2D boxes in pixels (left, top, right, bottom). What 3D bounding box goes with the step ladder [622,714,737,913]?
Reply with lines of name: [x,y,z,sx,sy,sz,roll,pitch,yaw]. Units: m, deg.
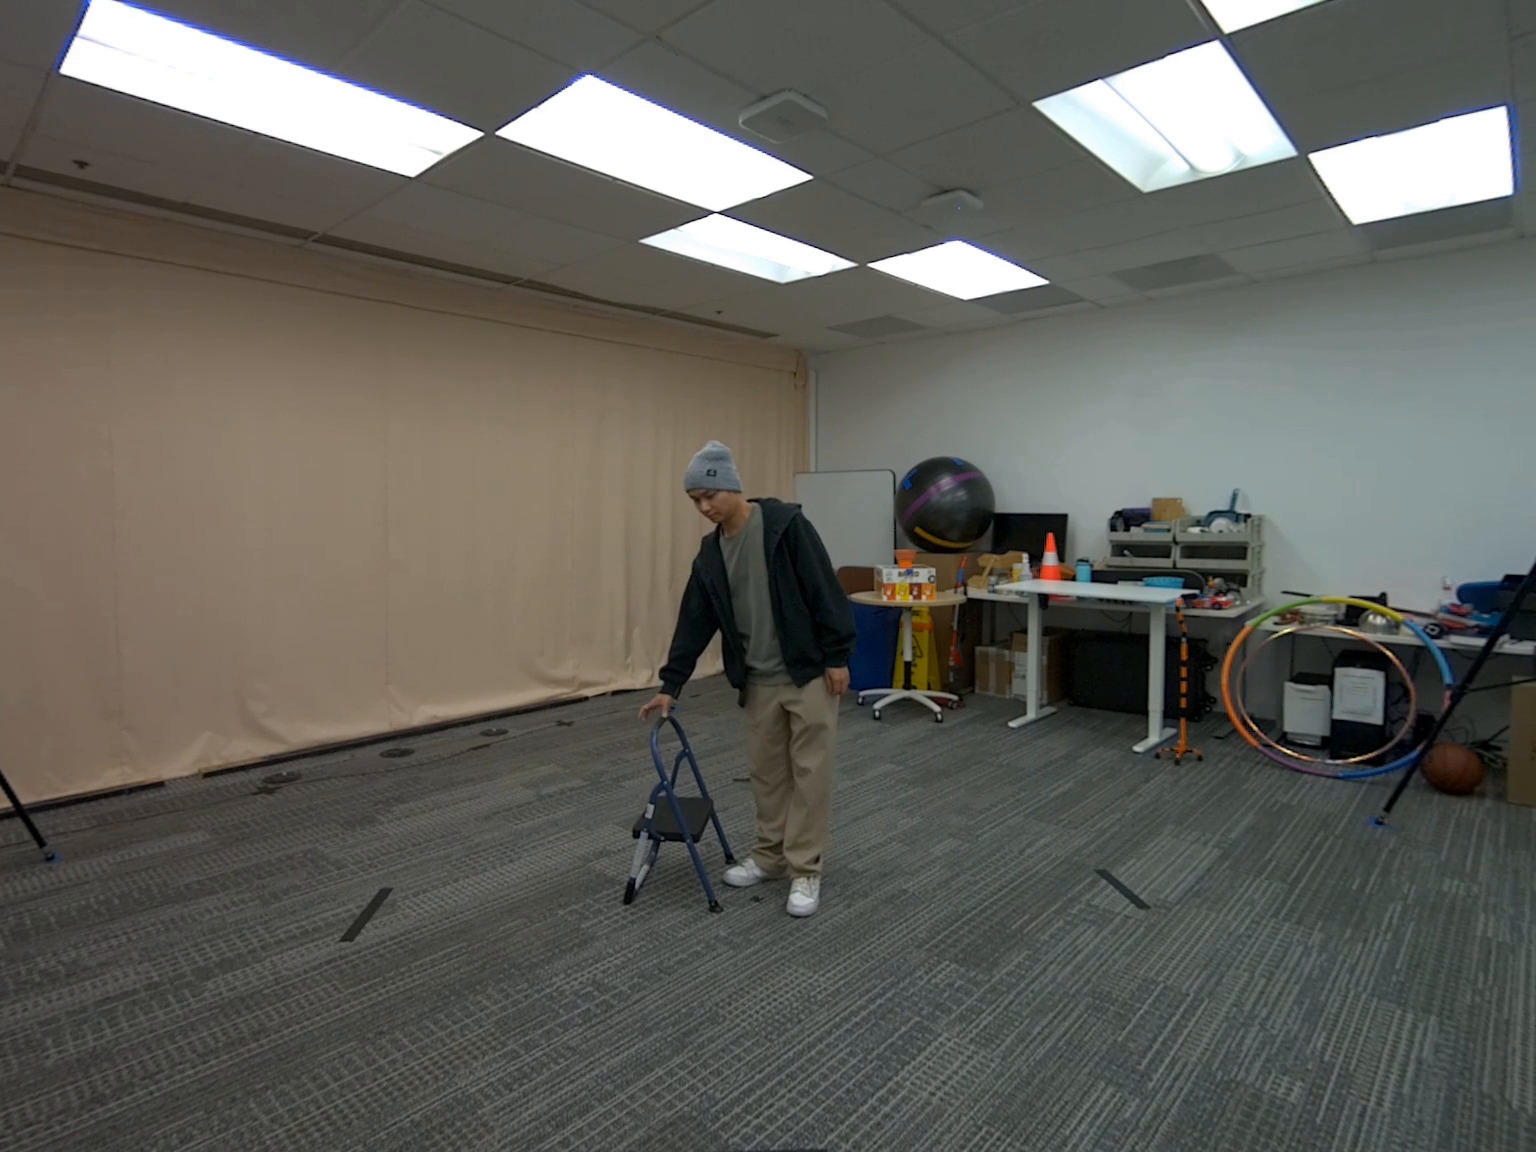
step ladder: [-0.317,0.836,3.108,0.352,0.604,0.428,0,4,6]
